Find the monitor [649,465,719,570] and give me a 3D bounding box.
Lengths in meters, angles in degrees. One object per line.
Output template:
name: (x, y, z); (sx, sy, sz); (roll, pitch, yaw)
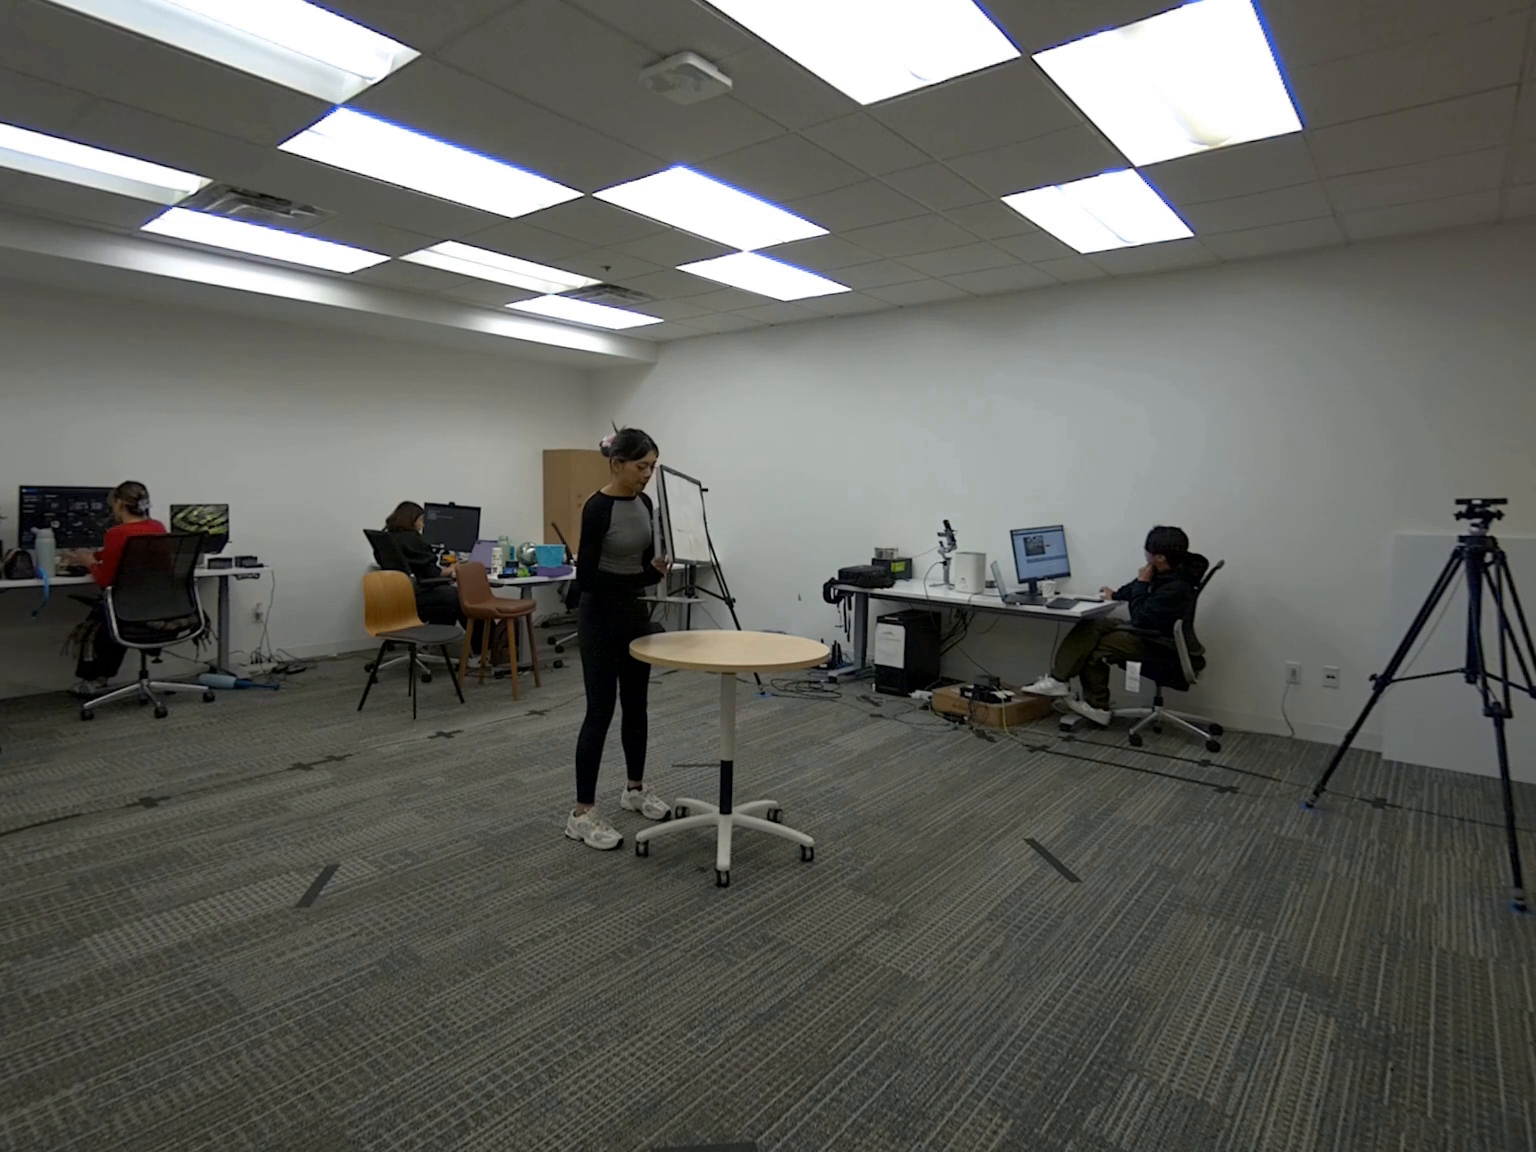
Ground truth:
monitor: (-0.377, -0.150, 3.361); (0.189, 0.524, 0.531); (4, -2, 10)
